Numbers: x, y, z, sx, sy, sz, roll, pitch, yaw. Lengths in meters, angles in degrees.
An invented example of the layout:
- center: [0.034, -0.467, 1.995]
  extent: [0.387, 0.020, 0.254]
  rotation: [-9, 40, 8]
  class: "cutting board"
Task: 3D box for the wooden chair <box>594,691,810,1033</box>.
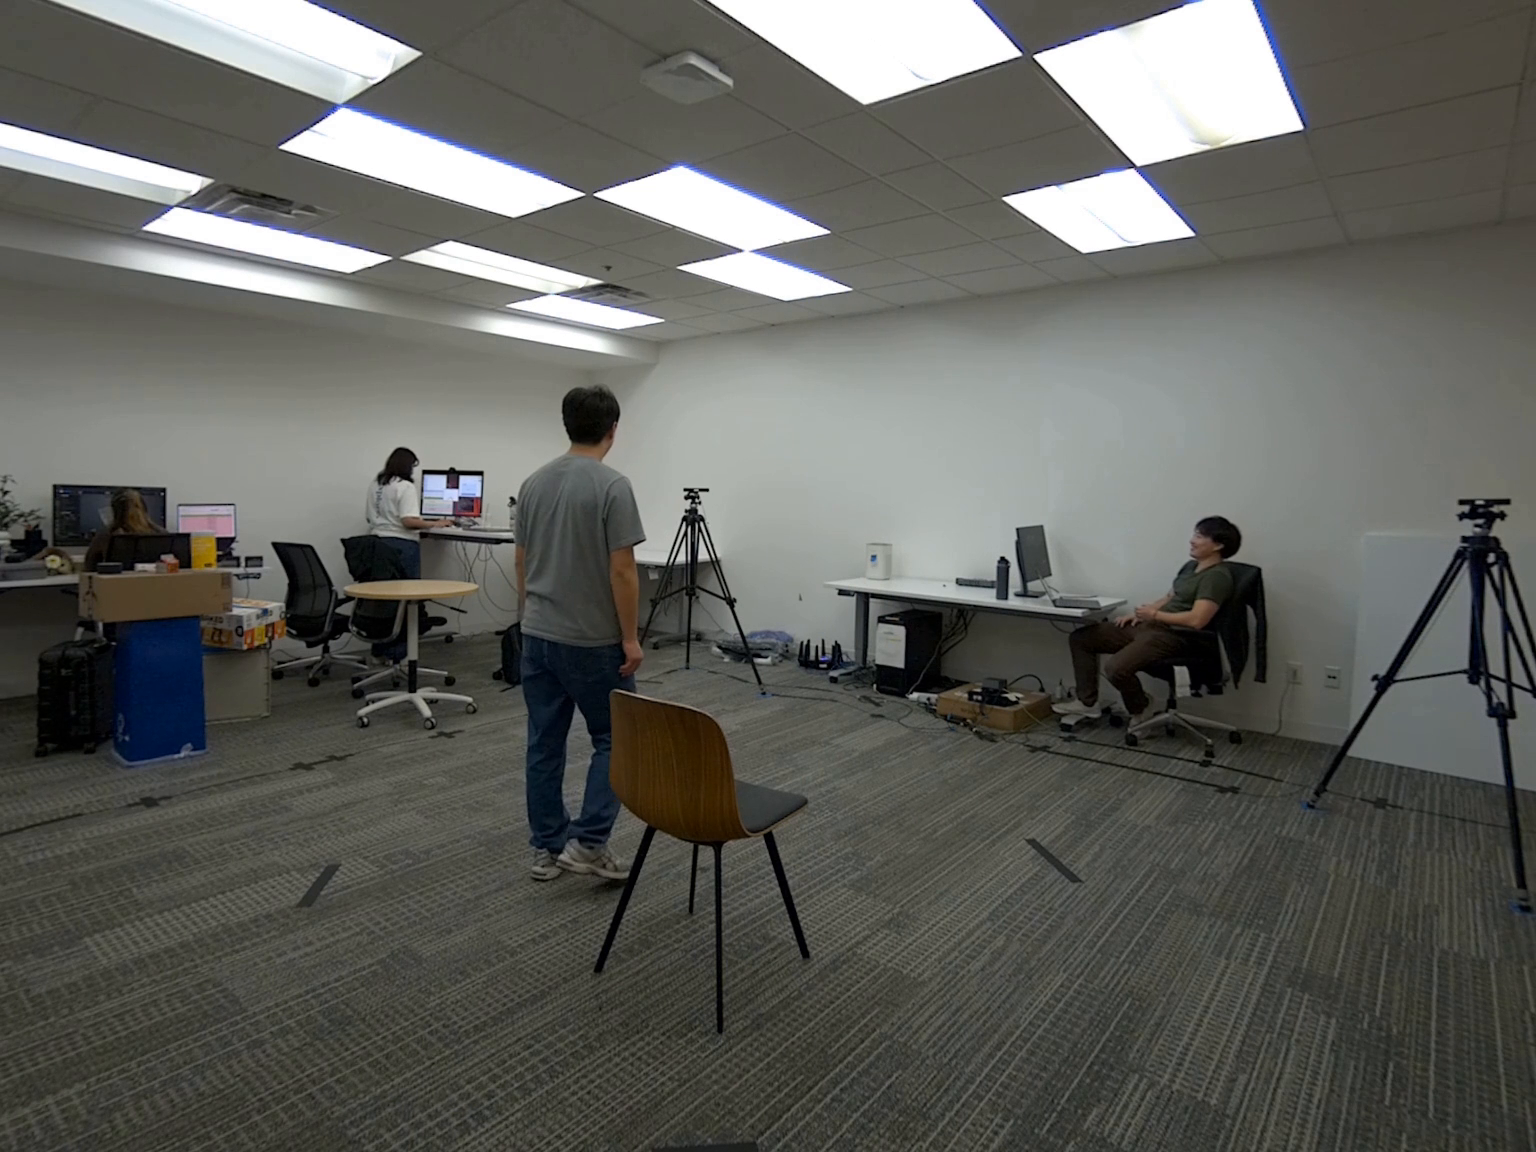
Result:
- center: [-0.185, 0.707, 2.459]
  extent: [0.493, 0.871, 0.510]
  rotation: [3, 9, 34]
  class: "wooden chair"
